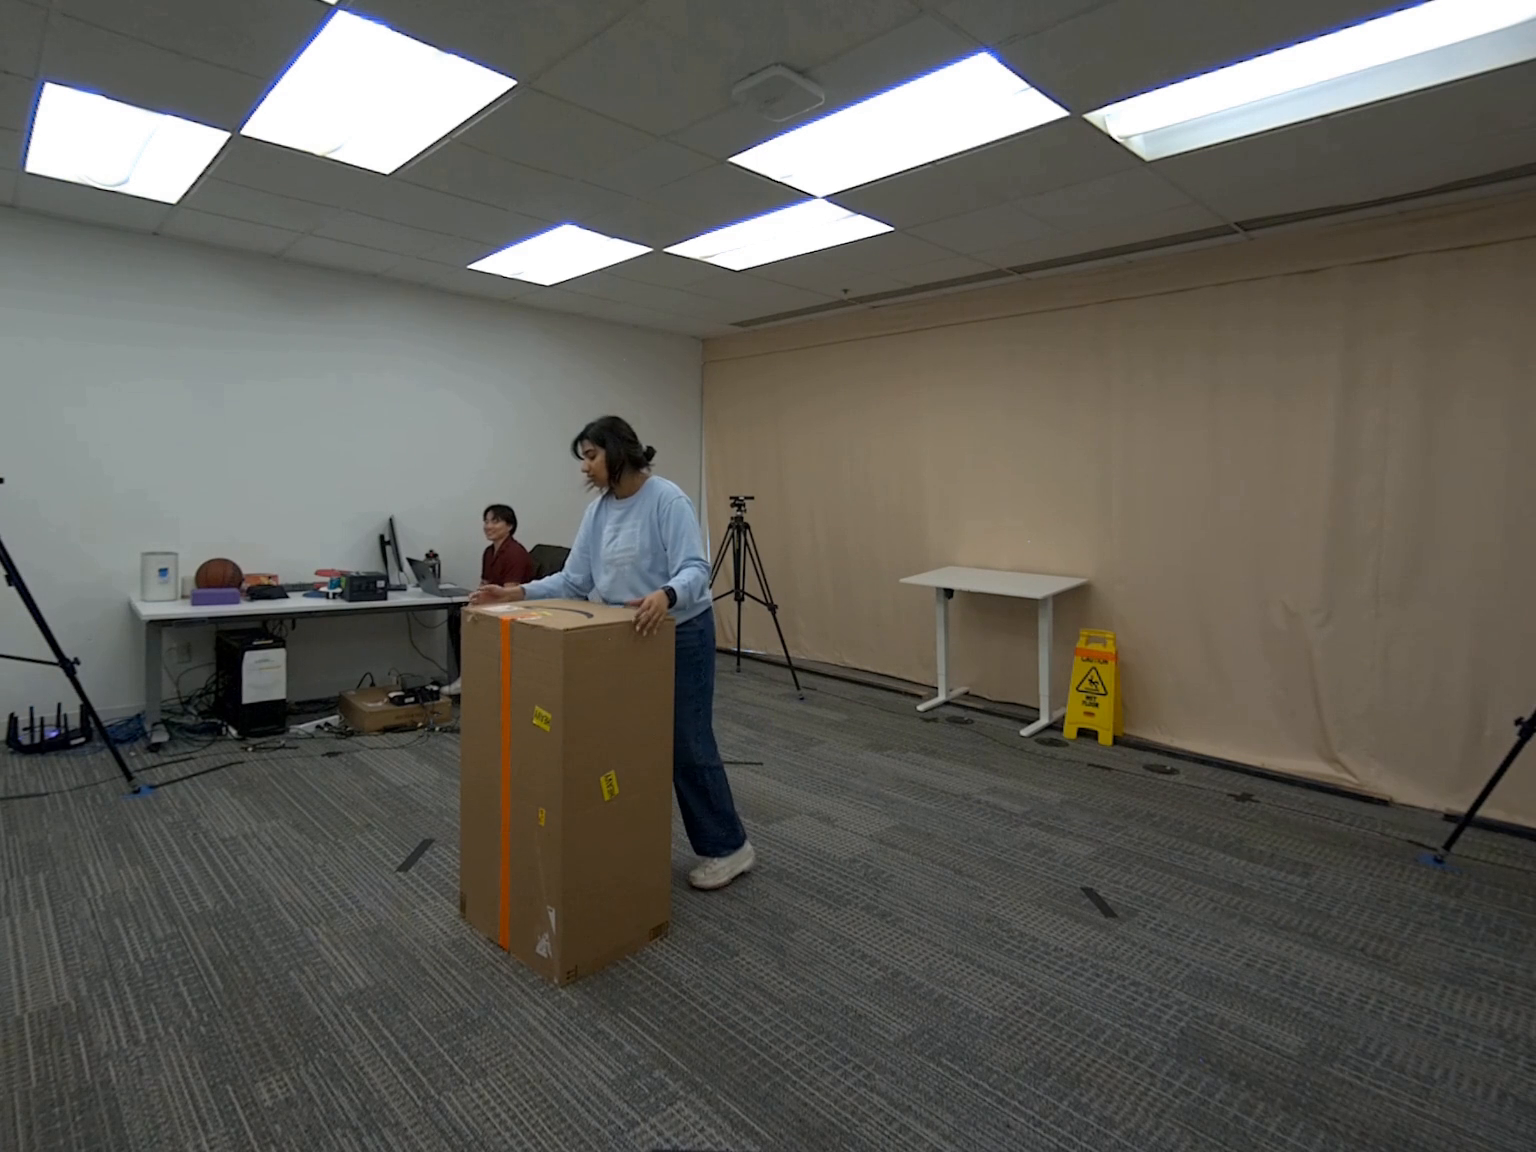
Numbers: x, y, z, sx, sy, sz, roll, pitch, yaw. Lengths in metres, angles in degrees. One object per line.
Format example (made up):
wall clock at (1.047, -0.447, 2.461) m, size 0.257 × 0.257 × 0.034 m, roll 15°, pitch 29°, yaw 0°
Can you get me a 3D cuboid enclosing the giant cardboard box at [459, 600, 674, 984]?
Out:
giant cardboard box at (-0.661, 0.622, 2.681) m, size 0.599 × 1.024 × 0.437 m, roll 5°, pitch 5°, yaw 44°
